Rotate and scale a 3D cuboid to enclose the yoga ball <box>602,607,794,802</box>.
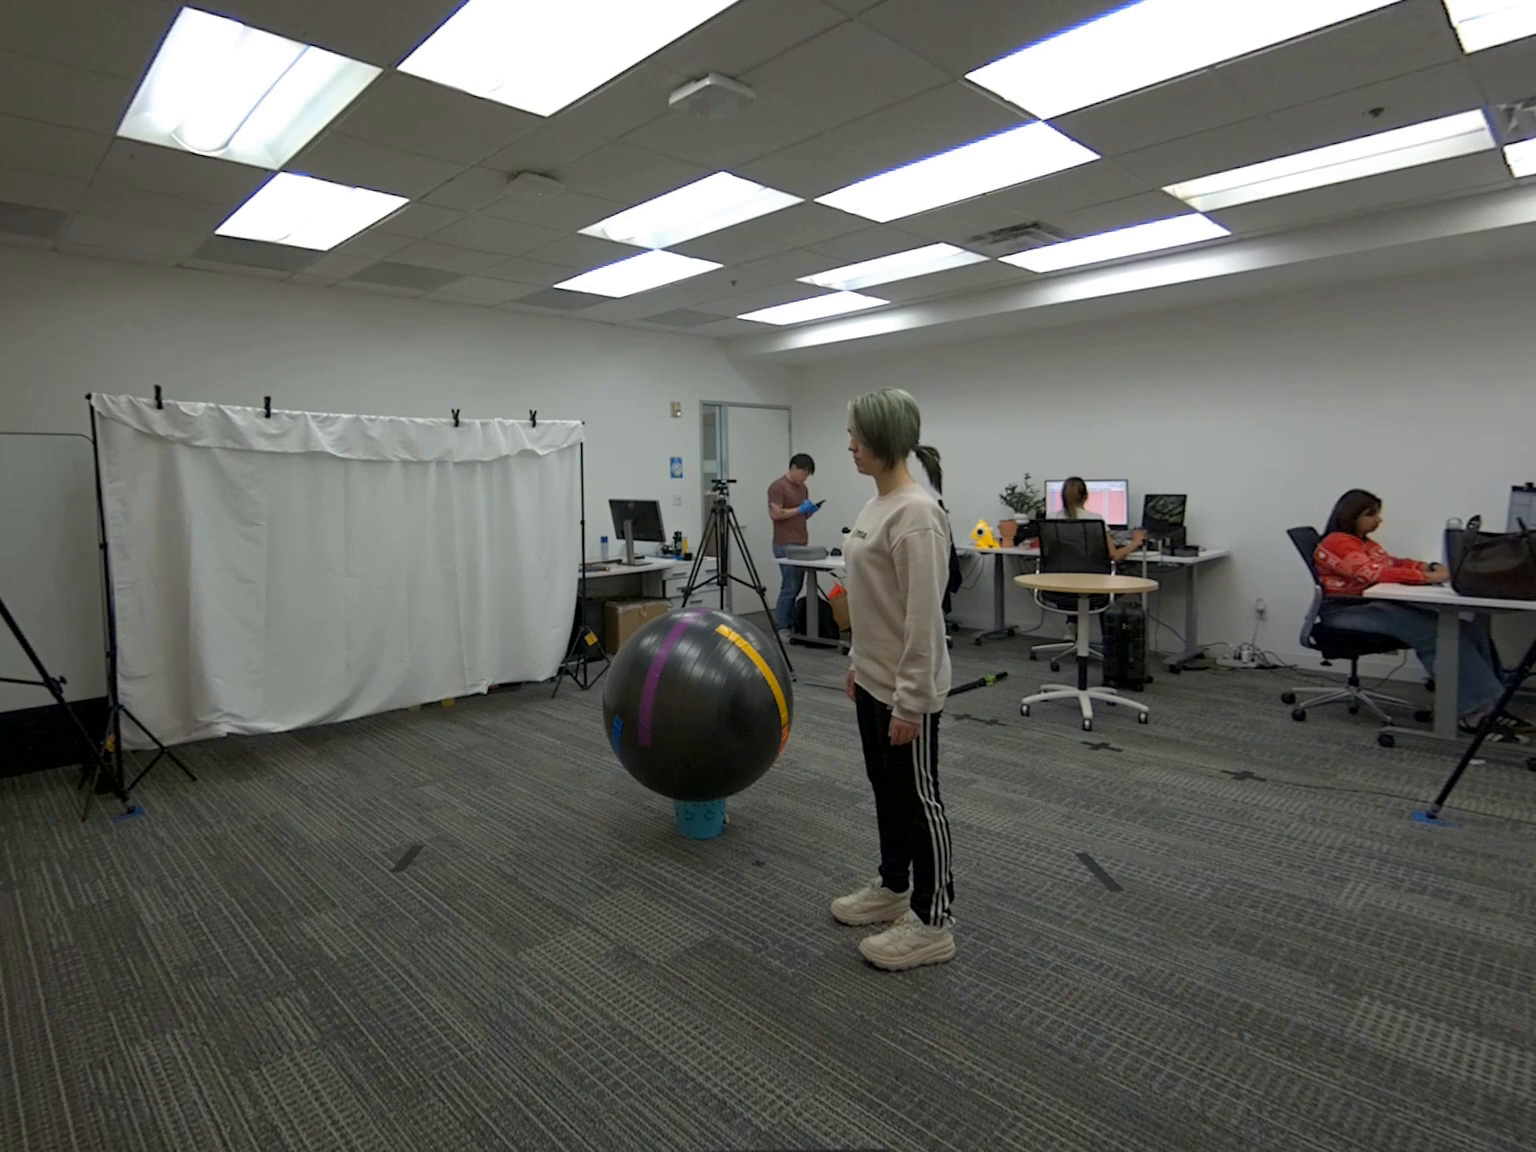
[{"bbox_3d":[-0.279,0.504,3.396,0.757,0.755,0.762,-1,5,-2],"label":"yoga ball"}]
